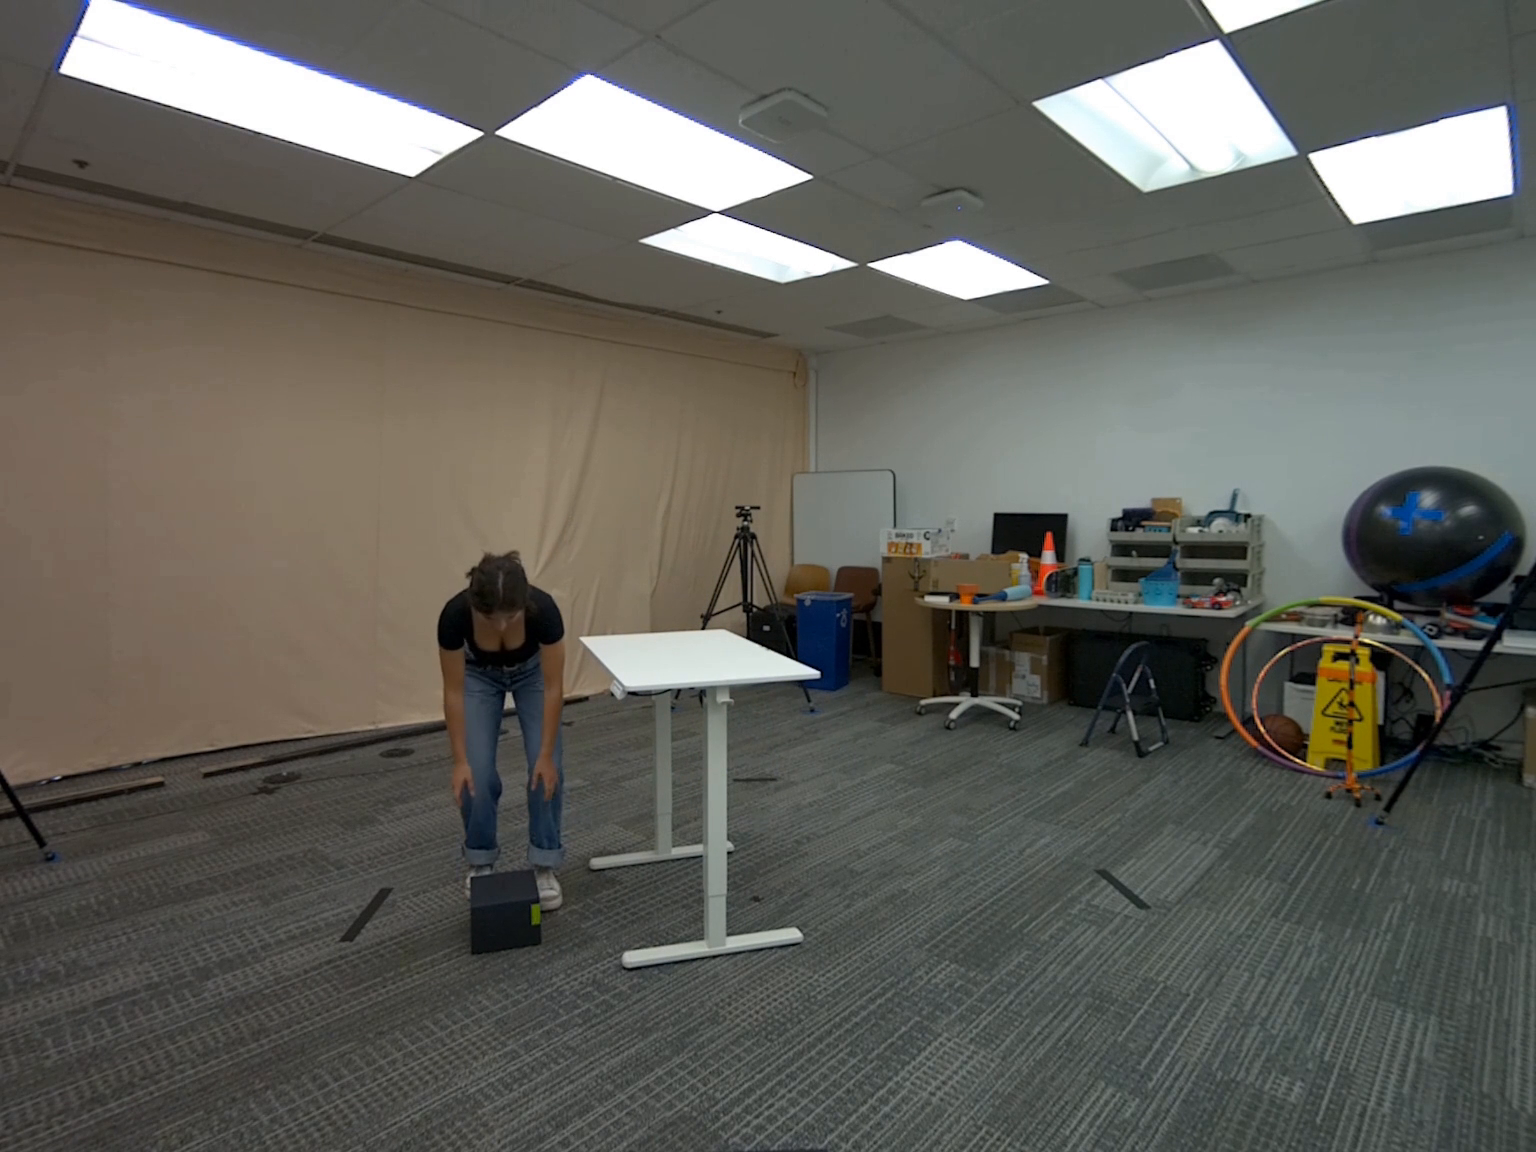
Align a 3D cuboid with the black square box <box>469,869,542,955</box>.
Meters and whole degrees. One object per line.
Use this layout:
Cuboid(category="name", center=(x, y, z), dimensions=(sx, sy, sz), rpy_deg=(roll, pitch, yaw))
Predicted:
Cuboid(category="black square box", center=(-0.864, 1.090, 2.746), dimensions=(0.213, 0.155, 0.233), rpy_deg=(-2, 4, -20))
